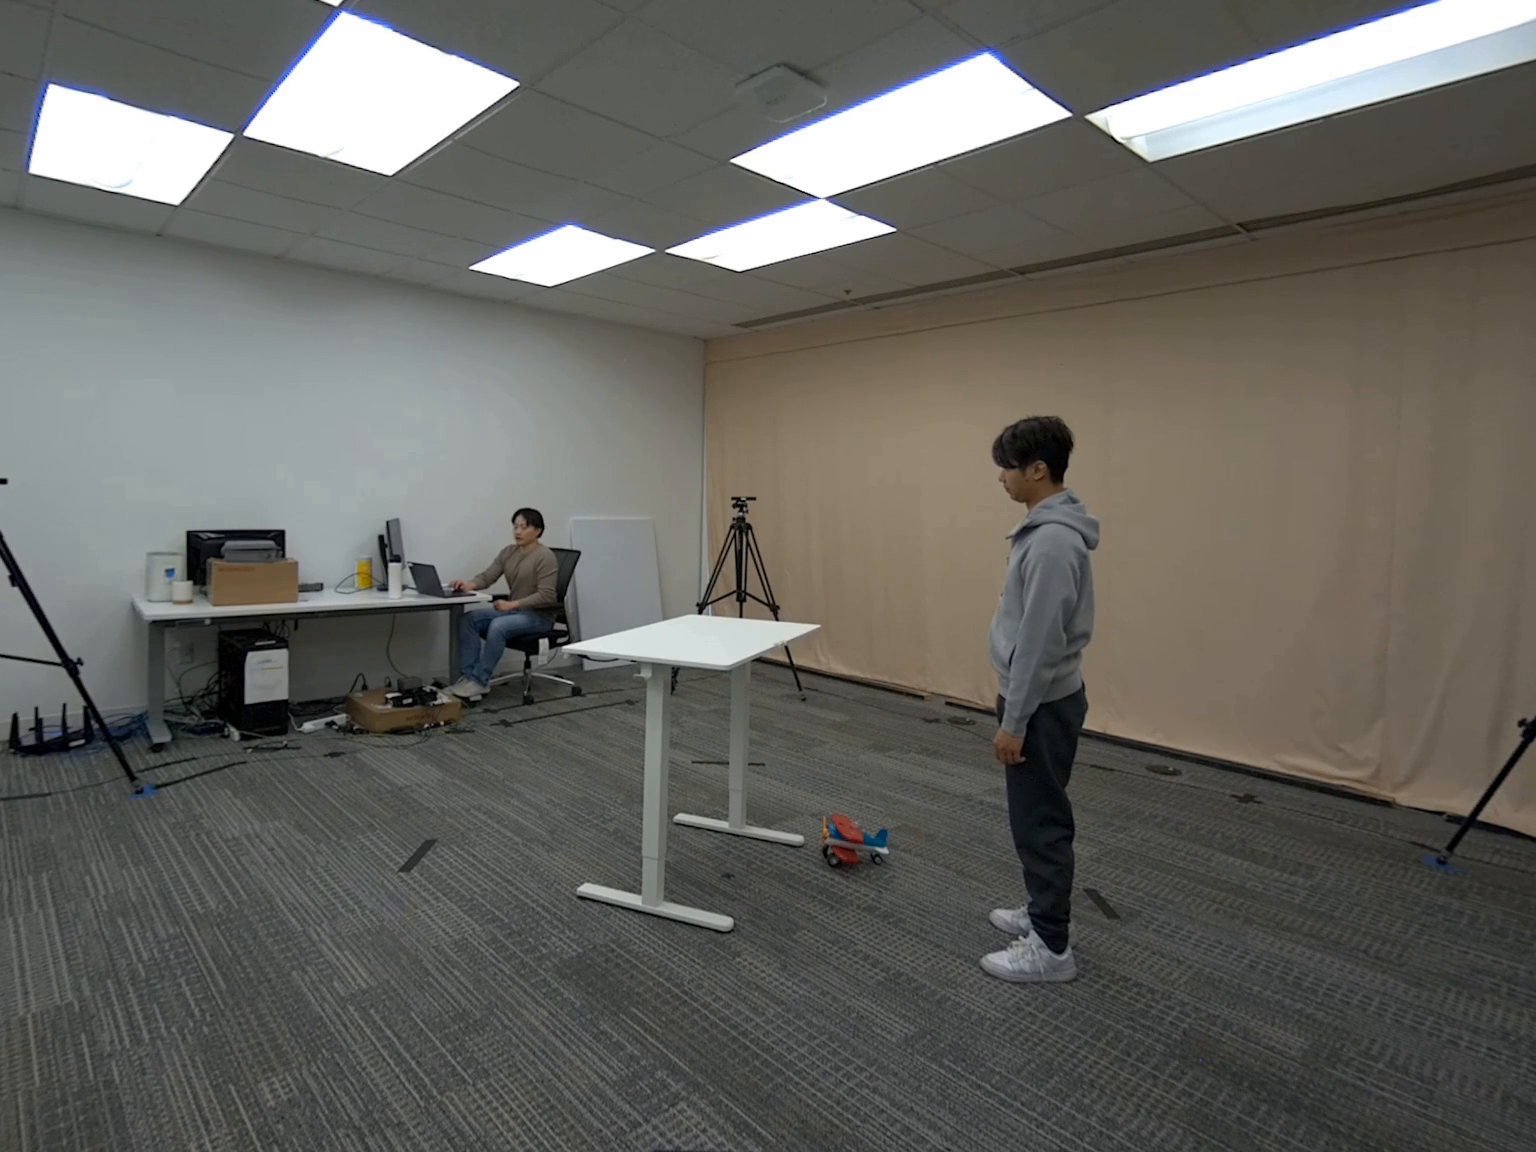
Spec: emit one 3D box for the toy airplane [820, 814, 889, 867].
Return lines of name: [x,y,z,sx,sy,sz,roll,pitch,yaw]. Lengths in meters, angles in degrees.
toy airplane: [0.318,1.026,3.264,0.253,0.156,0.257,-1,5,-35]
